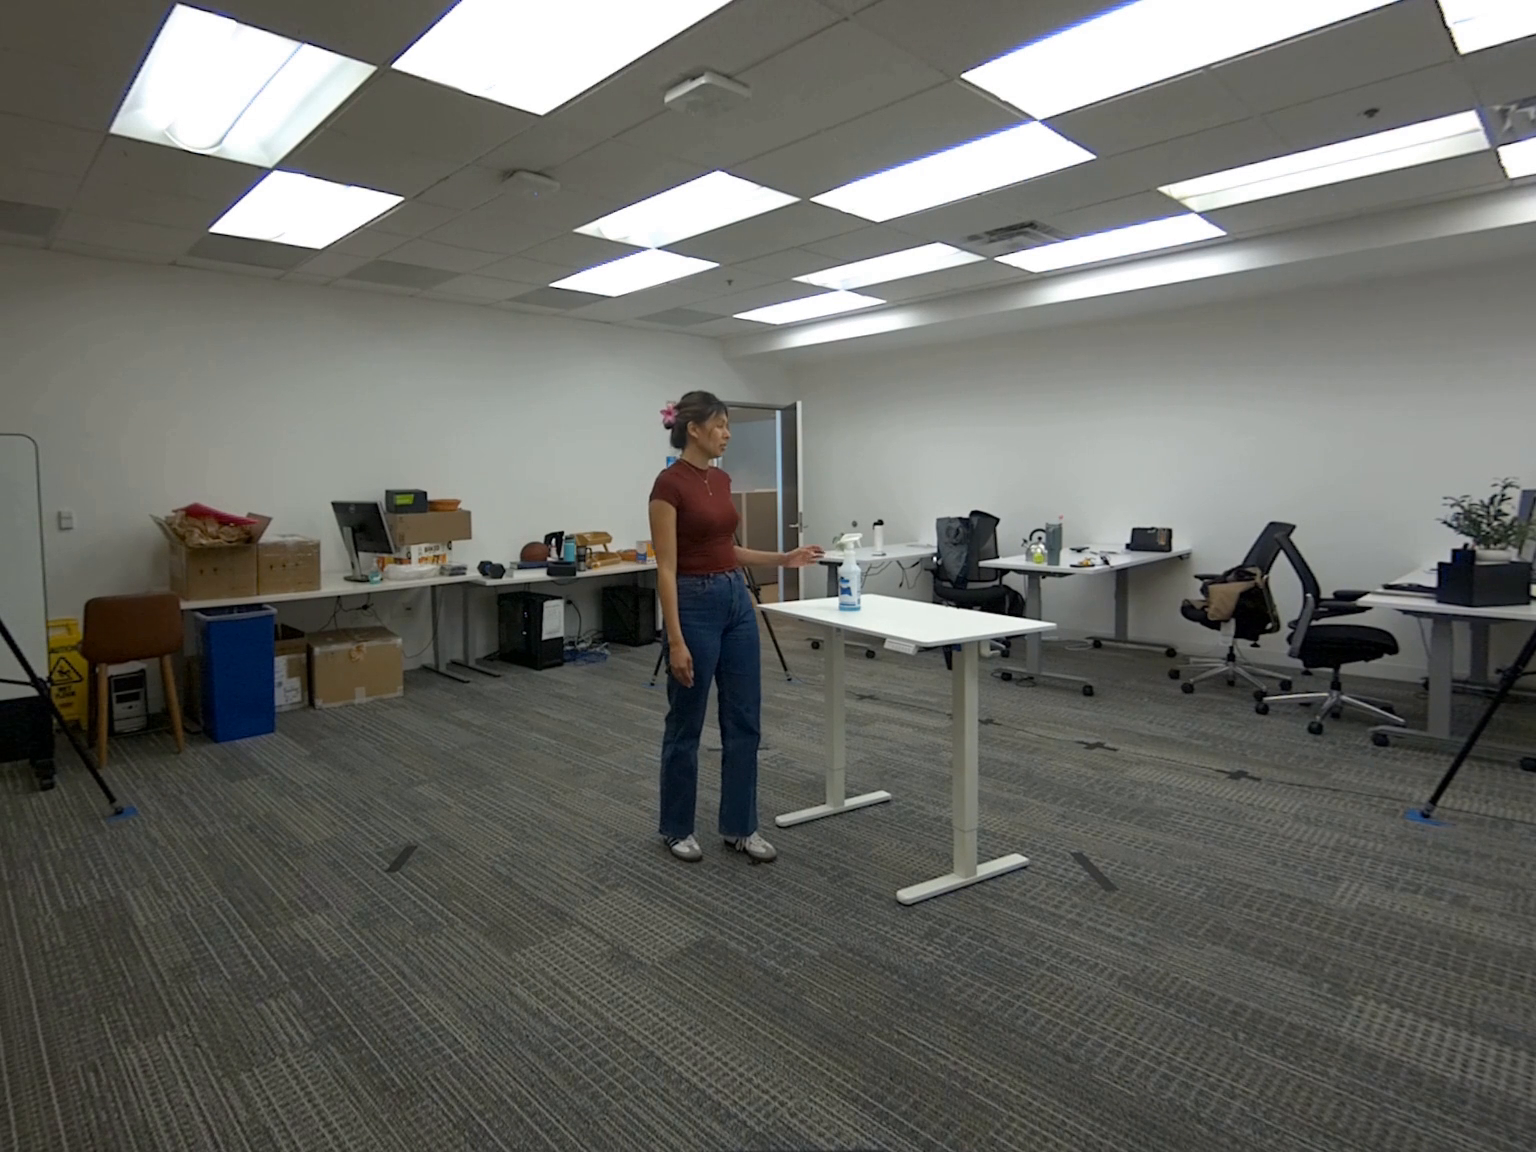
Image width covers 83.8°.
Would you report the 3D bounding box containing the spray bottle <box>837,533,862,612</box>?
[{"bbox_3d":[0.316,-0.015,3.329,0.091,0.296,0.086,1,3,7],"label":"spray bottle"}]
